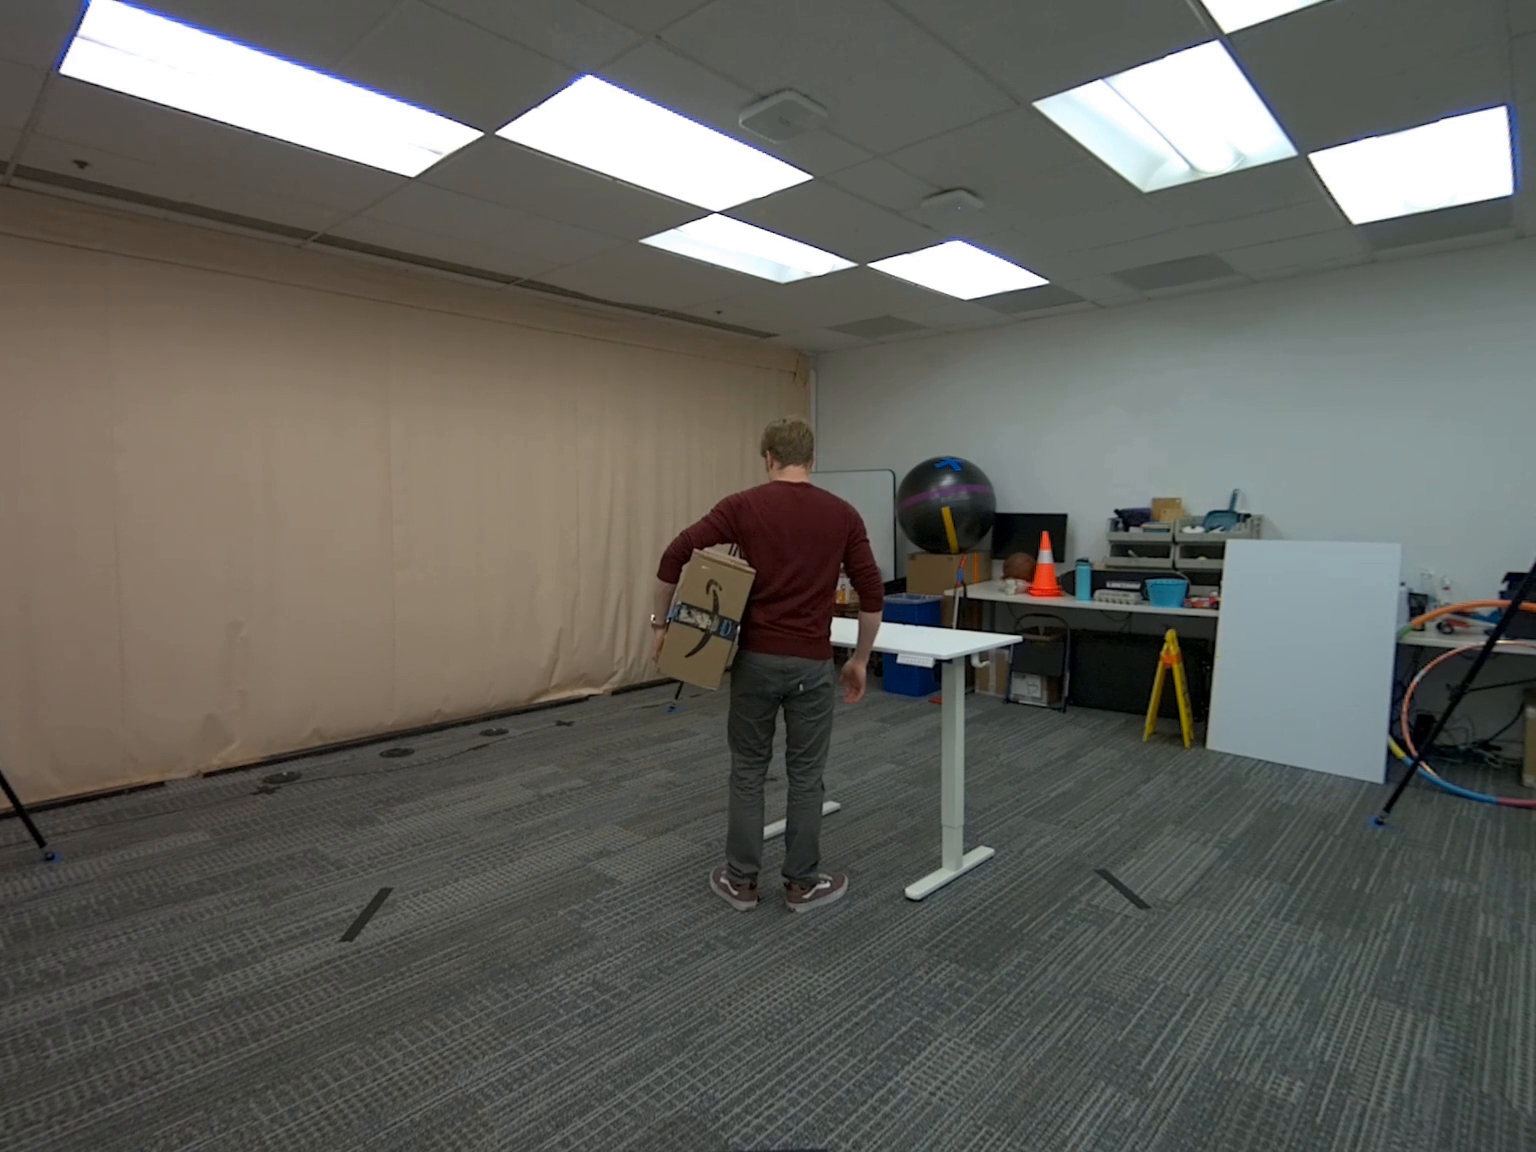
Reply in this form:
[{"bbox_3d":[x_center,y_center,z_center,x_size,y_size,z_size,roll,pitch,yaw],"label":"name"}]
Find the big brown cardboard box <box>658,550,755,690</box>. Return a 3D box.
[{"bbox_3d":[-0.222,0.129,2.980,0.232,0.417,0.591,18,2,-4],"label":"big brown cardboard box"}]
